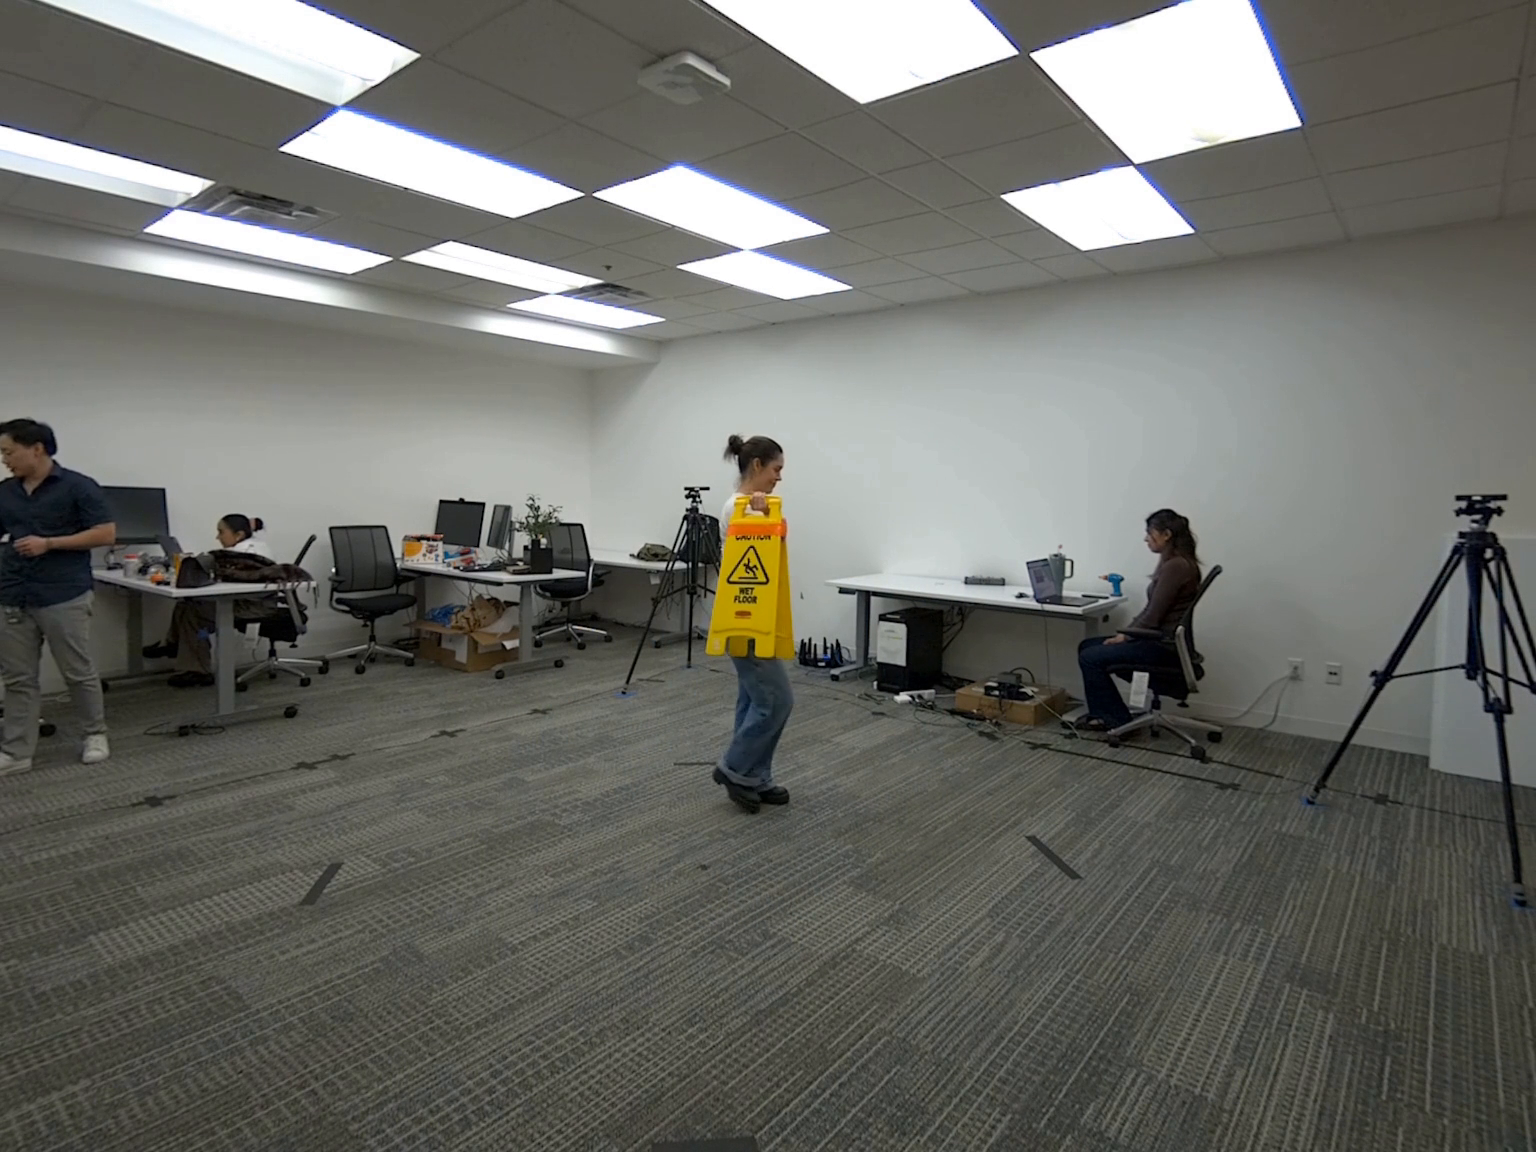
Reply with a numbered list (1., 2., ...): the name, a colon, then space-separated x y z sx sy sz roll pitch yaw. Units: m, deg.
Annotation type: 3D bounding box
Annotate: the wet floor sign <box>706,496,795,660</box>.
1. wet floor sign: -0.064 -0.005 3.415 0.289 0.650 0.281 1 -7 21
